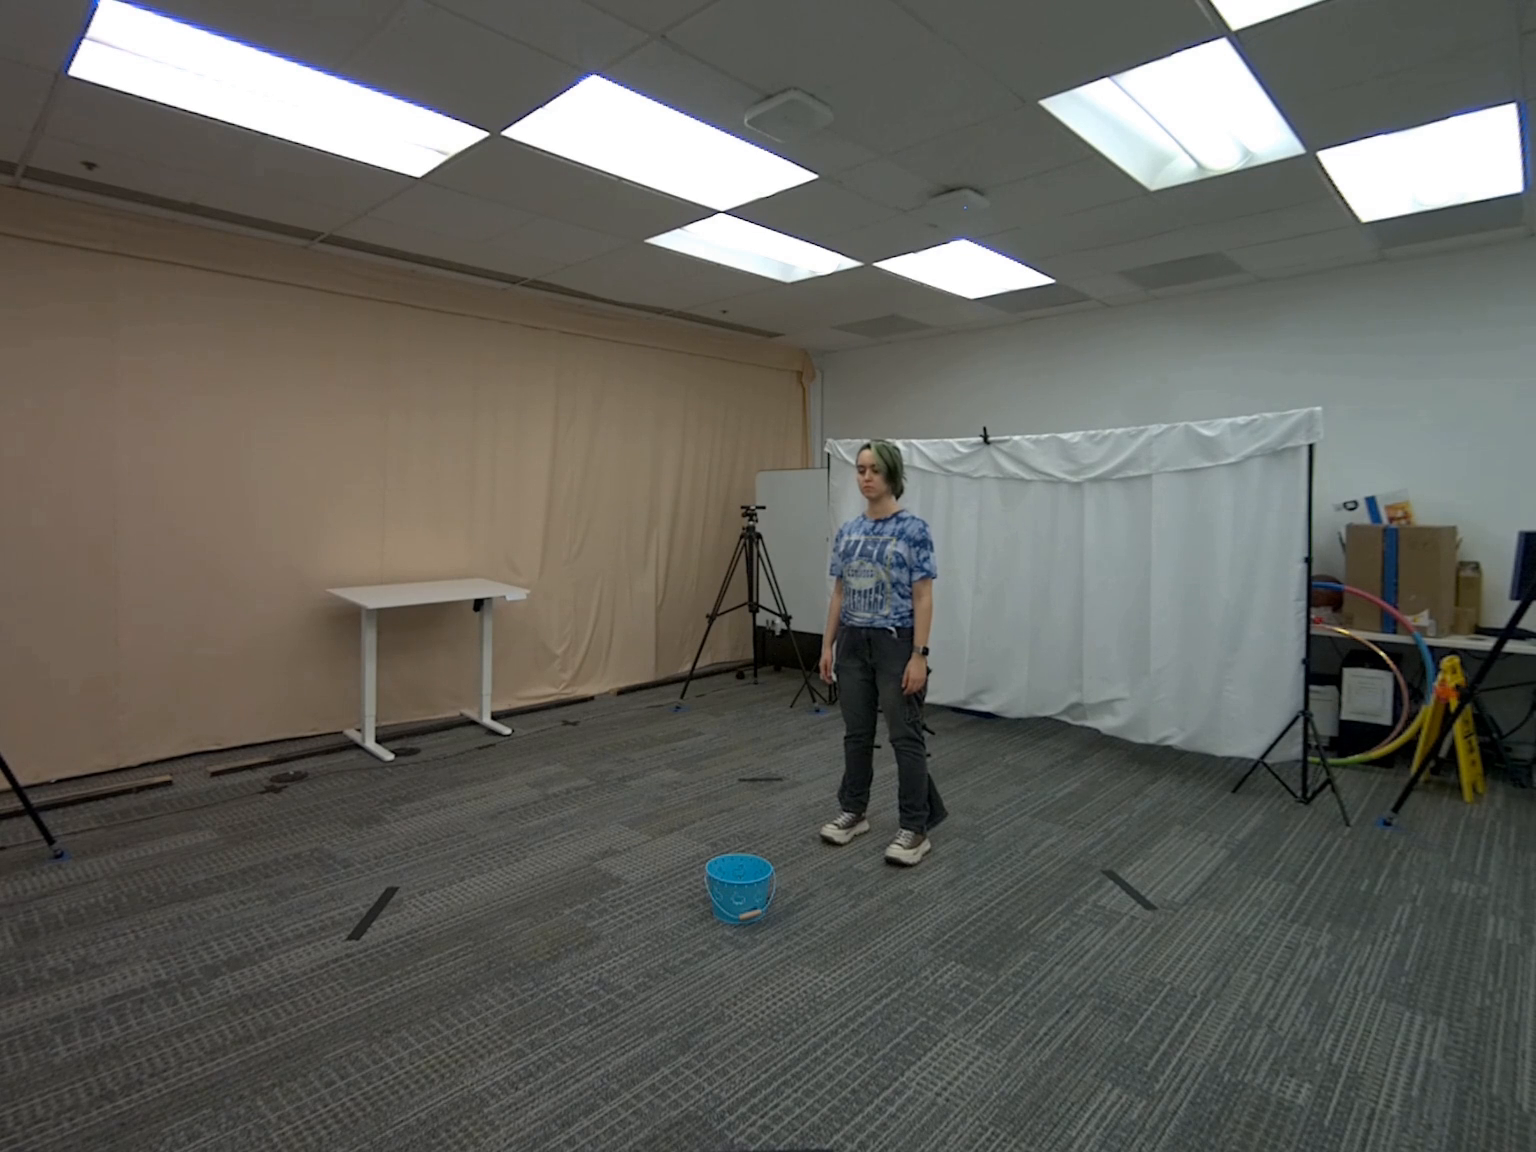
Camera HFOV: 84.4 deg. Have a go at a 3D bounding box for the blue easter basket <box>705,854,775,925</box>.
[{"bbox_3d":[-0.099,1.072,2.891,0.243,0.155,0.244,0,4,-2],"label":"blue easter basket"}]
